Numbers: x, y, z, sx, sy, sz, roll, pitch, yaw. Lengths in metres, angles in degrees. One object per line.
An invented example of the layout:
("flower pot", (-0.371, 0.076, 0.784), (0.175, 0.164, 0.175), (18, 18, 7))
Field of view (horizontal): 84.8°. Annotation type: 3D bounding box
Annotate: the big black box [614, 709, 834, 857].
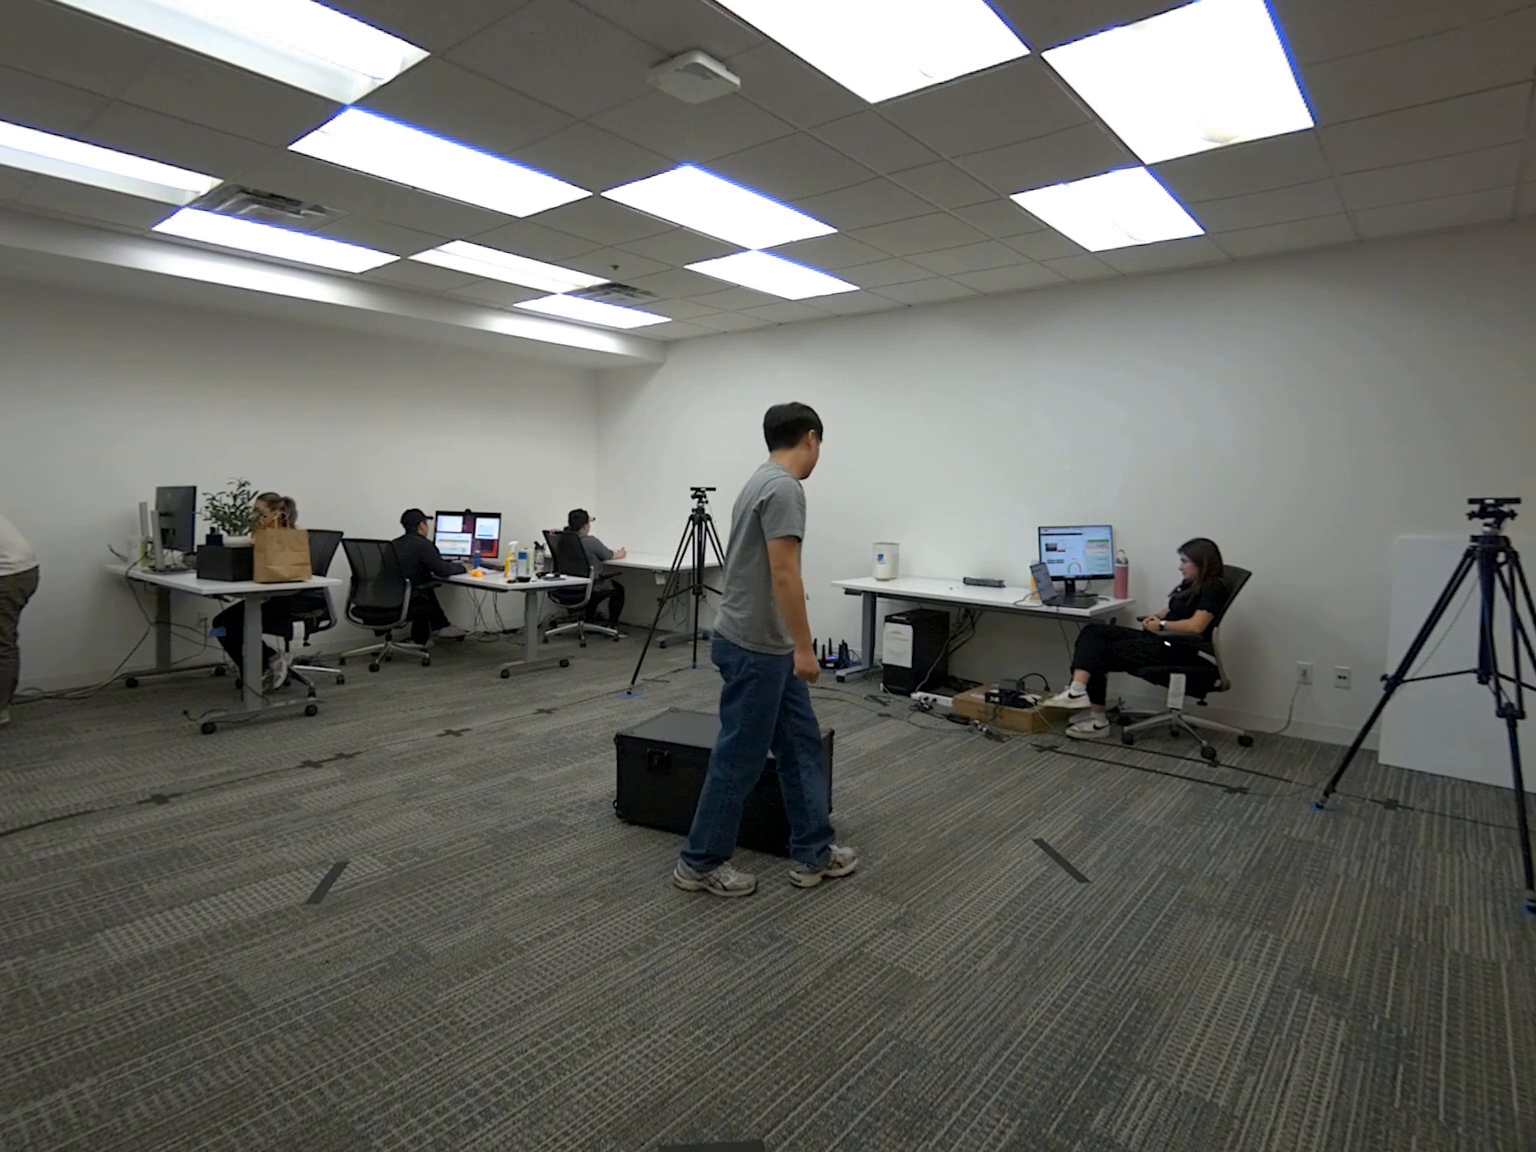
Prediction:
("big black box", (-0.216, 0.830, 3.574), (0.883, 0.394, 0.511), (4, 6, 24))
